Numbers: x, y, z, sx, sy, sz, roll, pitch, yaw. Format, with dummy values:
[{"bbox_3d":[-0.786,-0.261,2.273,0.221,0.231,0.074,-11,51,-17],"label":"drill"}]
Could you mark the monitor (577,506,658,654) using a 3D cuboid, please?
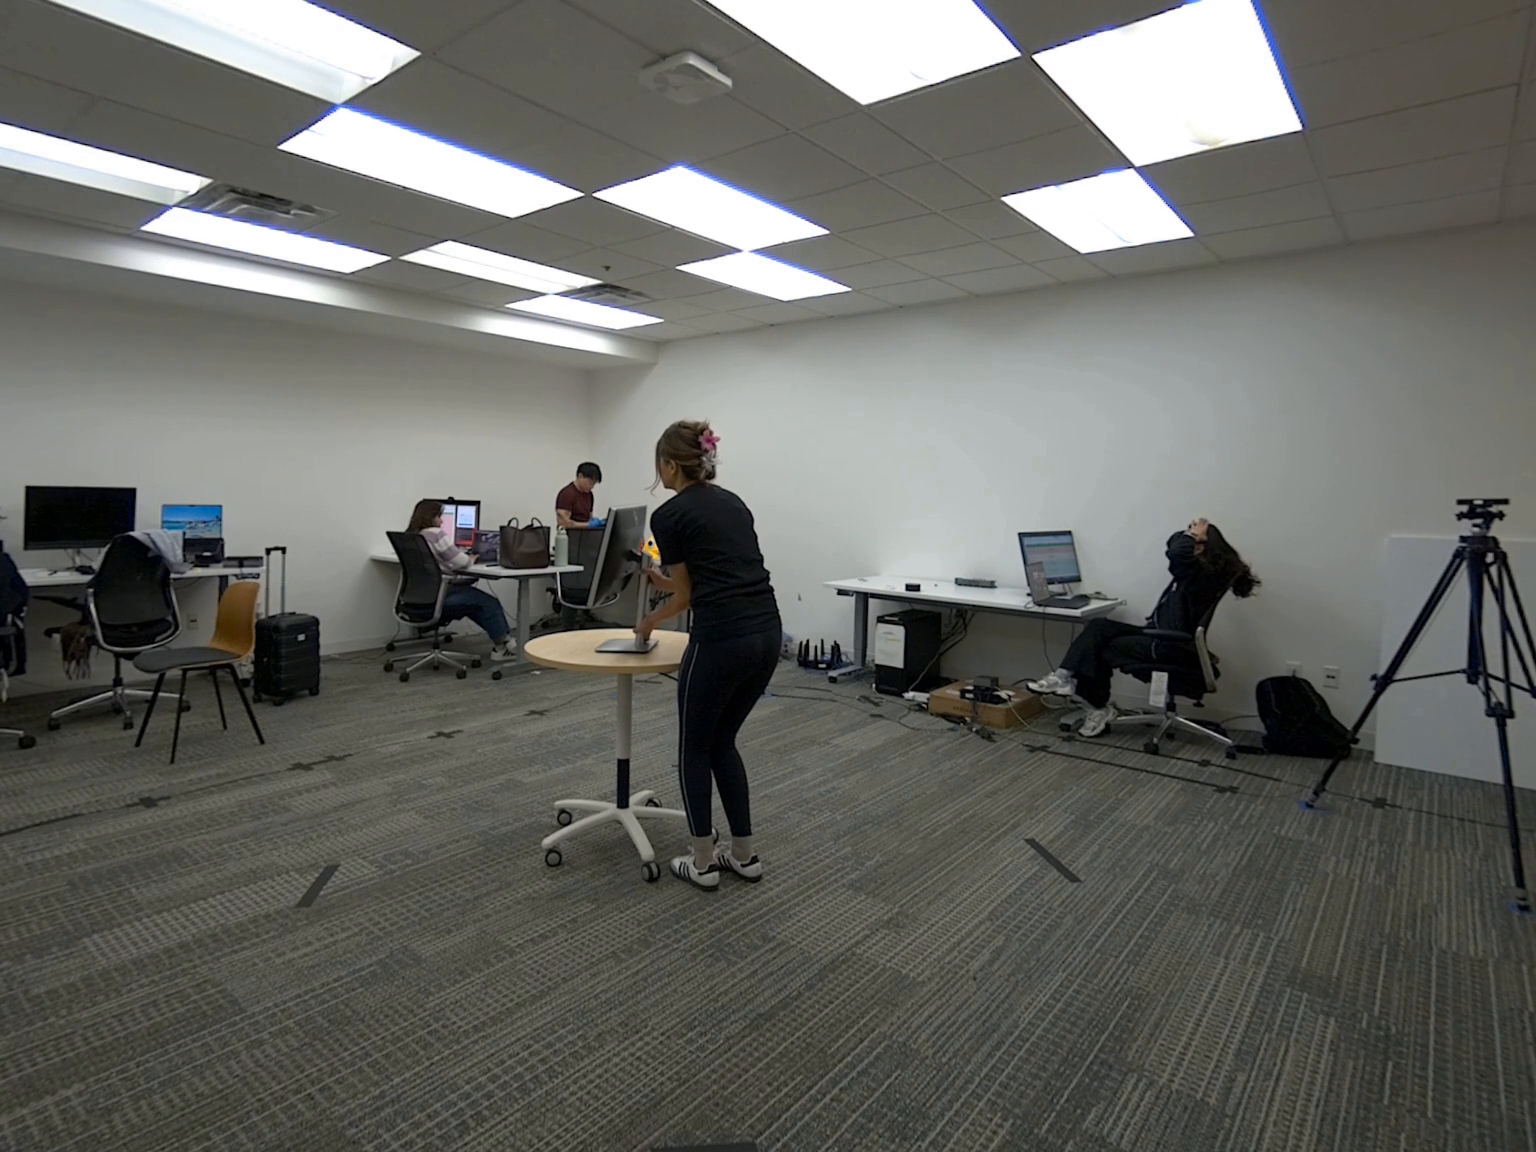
[{"bbox_3d":[-0.546,0.006,3.247,0.188,0.520,0.540,0,5,1],"label":"monitor"}]
